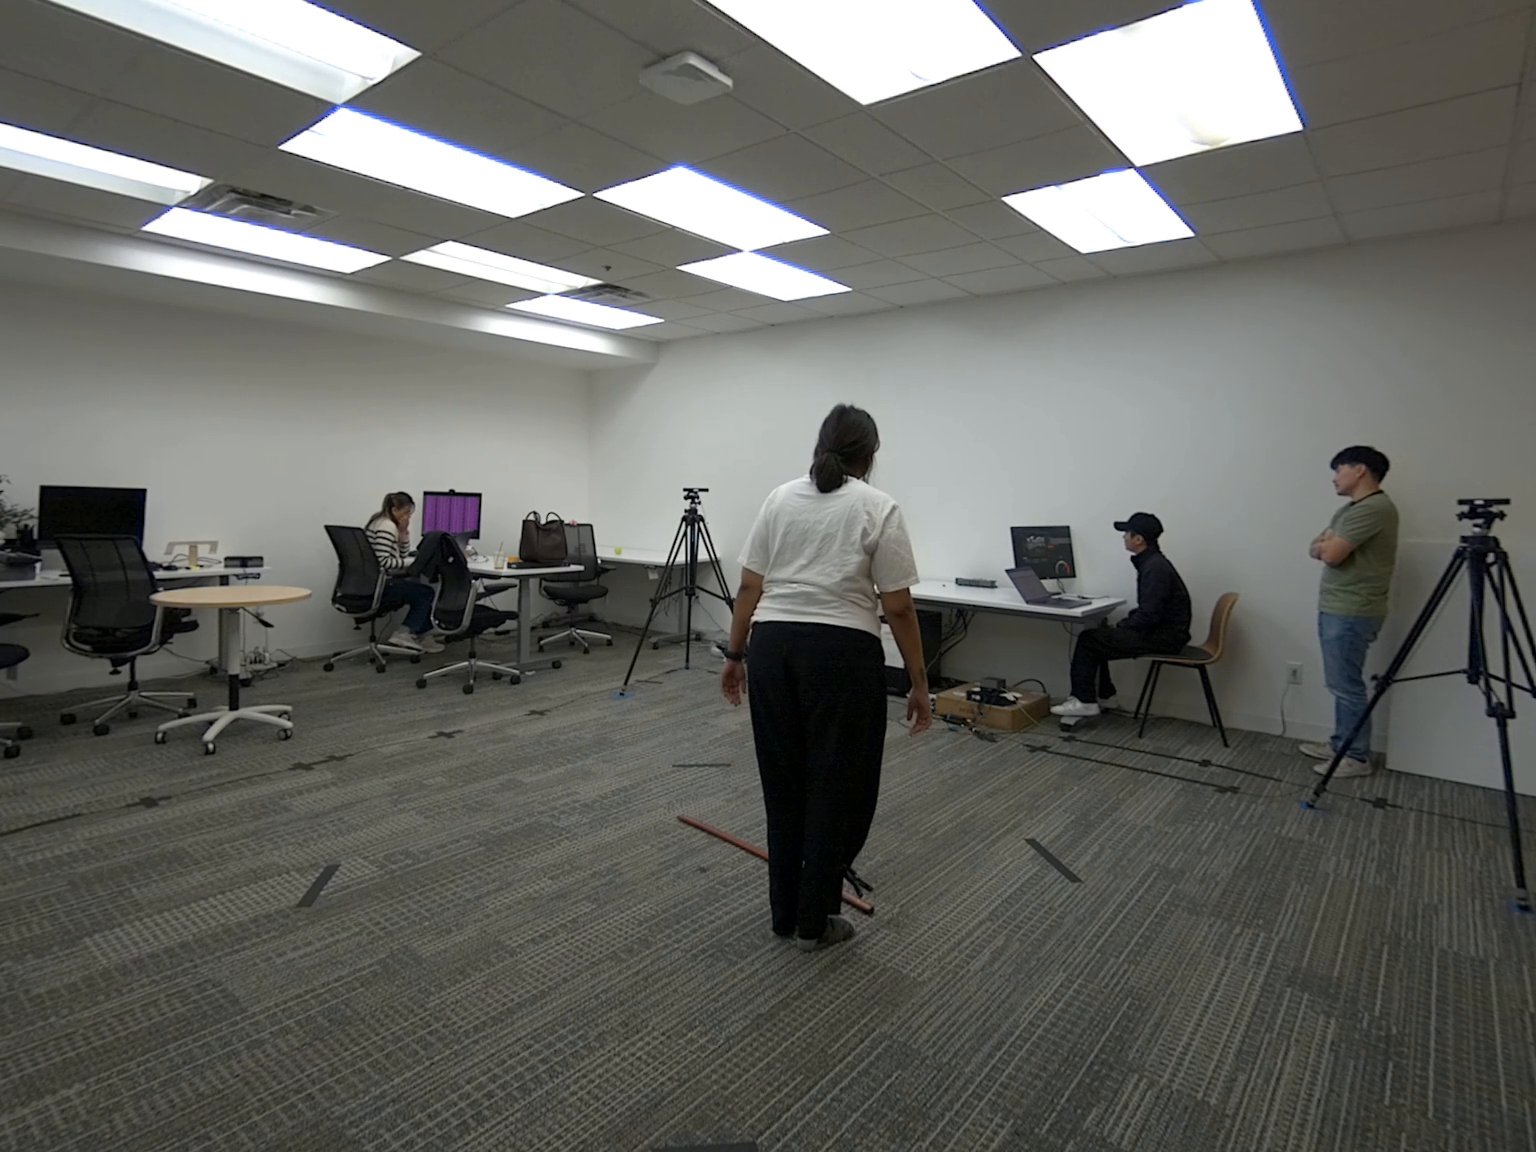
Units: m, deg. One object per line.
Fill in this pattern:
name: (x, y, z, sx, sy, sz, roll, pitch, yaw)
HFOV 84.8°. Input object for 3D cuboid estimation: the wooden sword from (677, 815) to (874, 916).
wooden sword: (-0.021, 1.045, 3.187, 0.050, 0.024, 1.060, -12, 12, -41)
